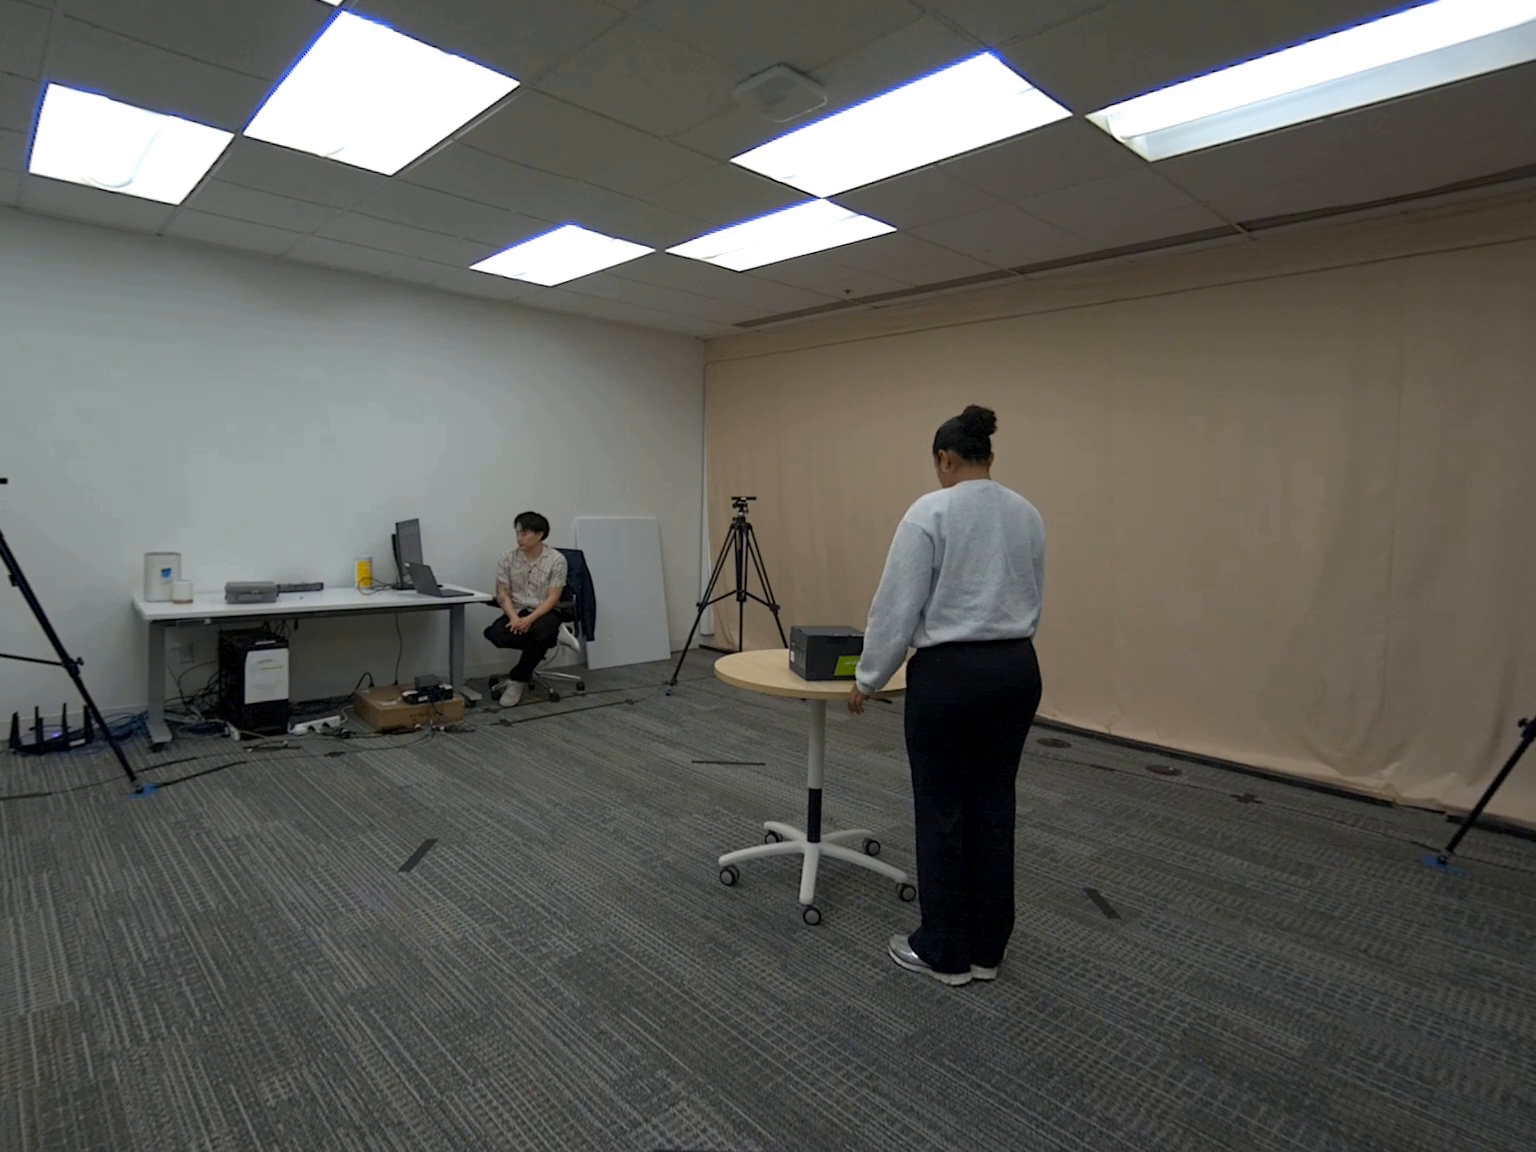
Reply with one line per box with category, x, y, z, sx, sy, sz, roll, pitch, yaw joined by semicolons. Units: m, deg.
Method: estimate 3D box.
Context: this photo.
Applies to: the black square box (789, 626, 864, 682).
black square box;0.211;0.264;2.944;0.226;0.155;0.219;1;4;-12
